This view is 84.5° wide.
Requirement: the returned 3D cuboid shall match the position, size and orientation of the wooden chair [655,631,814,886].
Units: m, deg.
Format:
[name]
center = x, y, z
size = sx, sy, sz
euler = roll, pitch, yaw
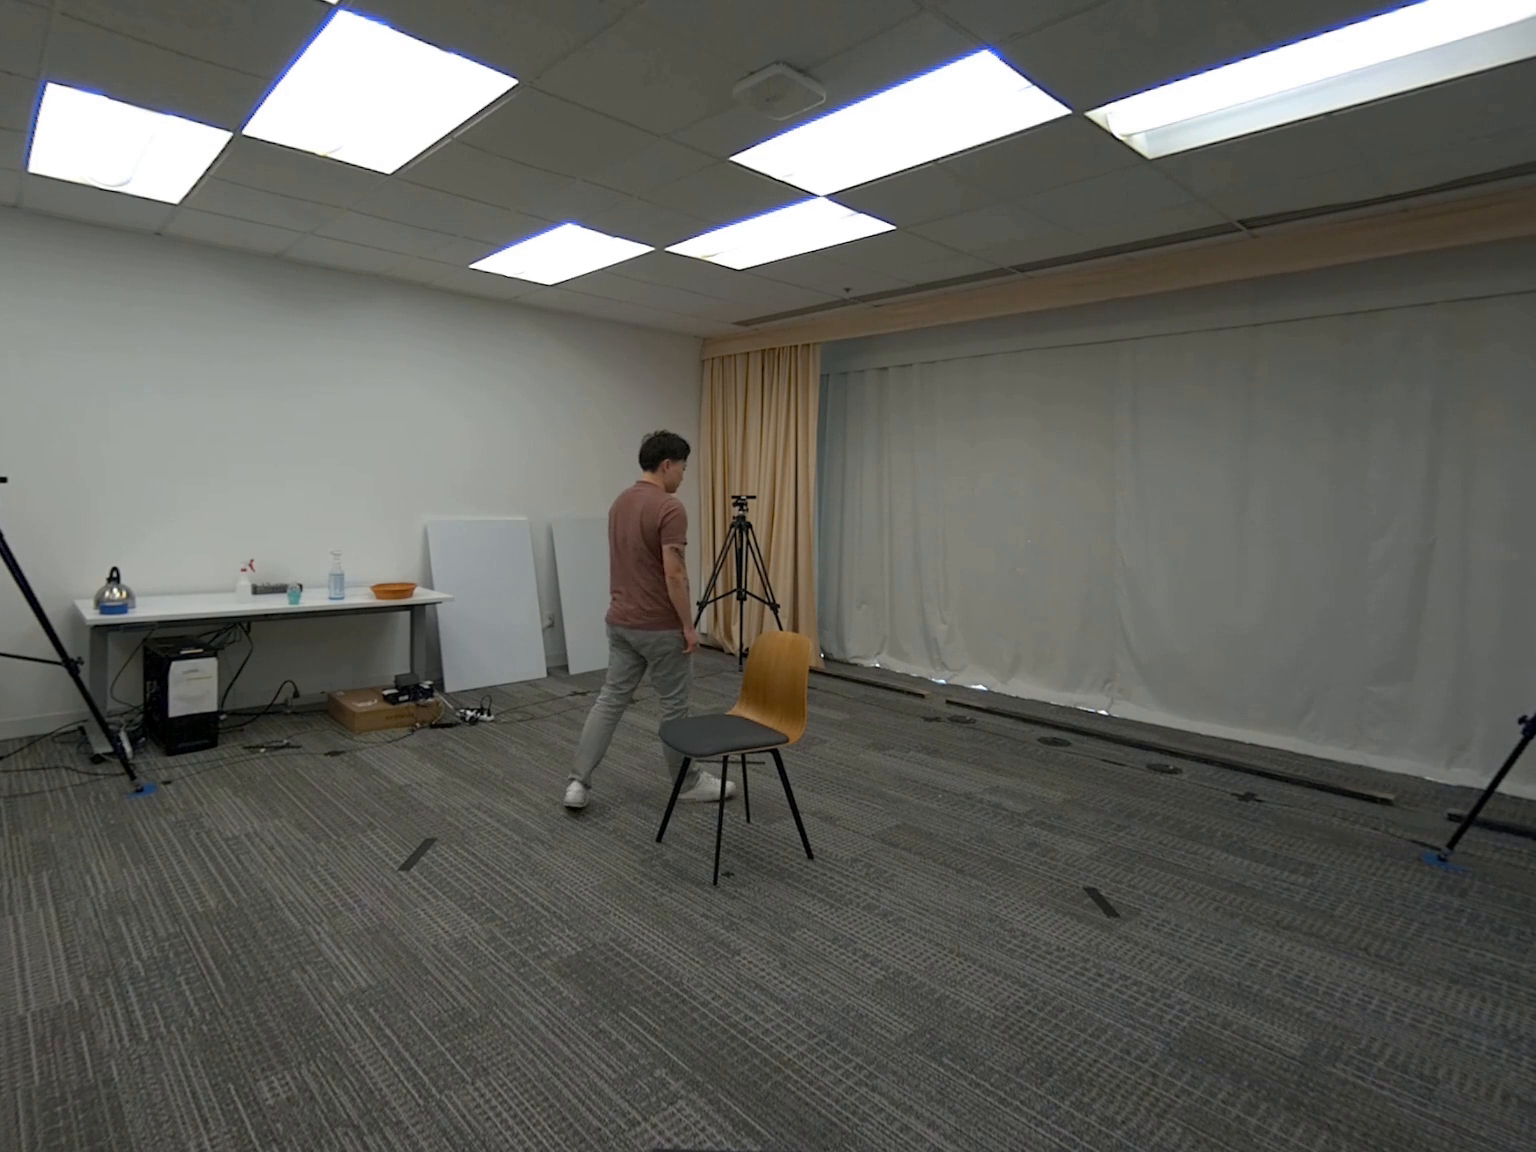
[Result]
[wooden chair]
center = -0.138, 0.659, 3.280
size = 0.511, 0.877, 0.489
euler = 4, 1, -35
